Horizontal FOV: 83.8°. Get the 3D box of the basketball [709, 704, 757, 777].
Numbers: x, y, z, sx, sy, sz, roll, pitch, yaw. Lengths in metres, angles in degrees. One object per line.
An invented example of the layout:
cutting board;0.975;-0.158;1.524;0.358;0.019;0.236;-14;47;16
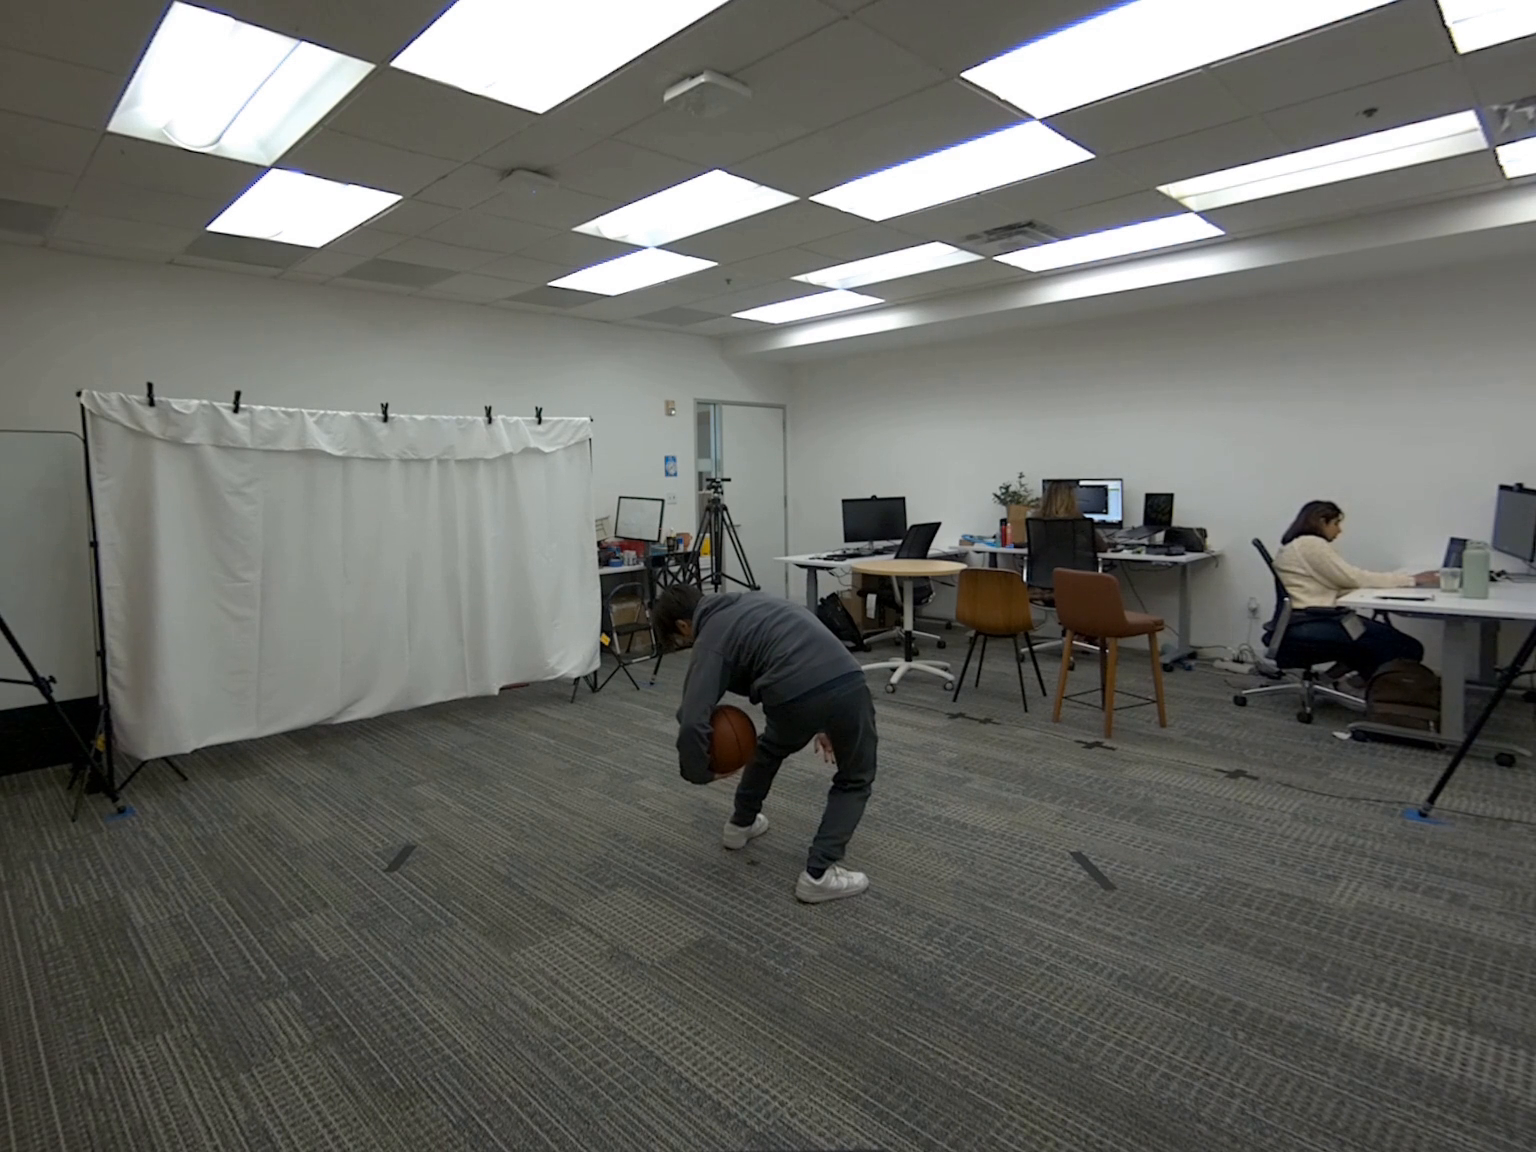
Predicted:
basketball;-0.154;0.579;3.045;0.236;0.235;0.237;-1;5;-2
